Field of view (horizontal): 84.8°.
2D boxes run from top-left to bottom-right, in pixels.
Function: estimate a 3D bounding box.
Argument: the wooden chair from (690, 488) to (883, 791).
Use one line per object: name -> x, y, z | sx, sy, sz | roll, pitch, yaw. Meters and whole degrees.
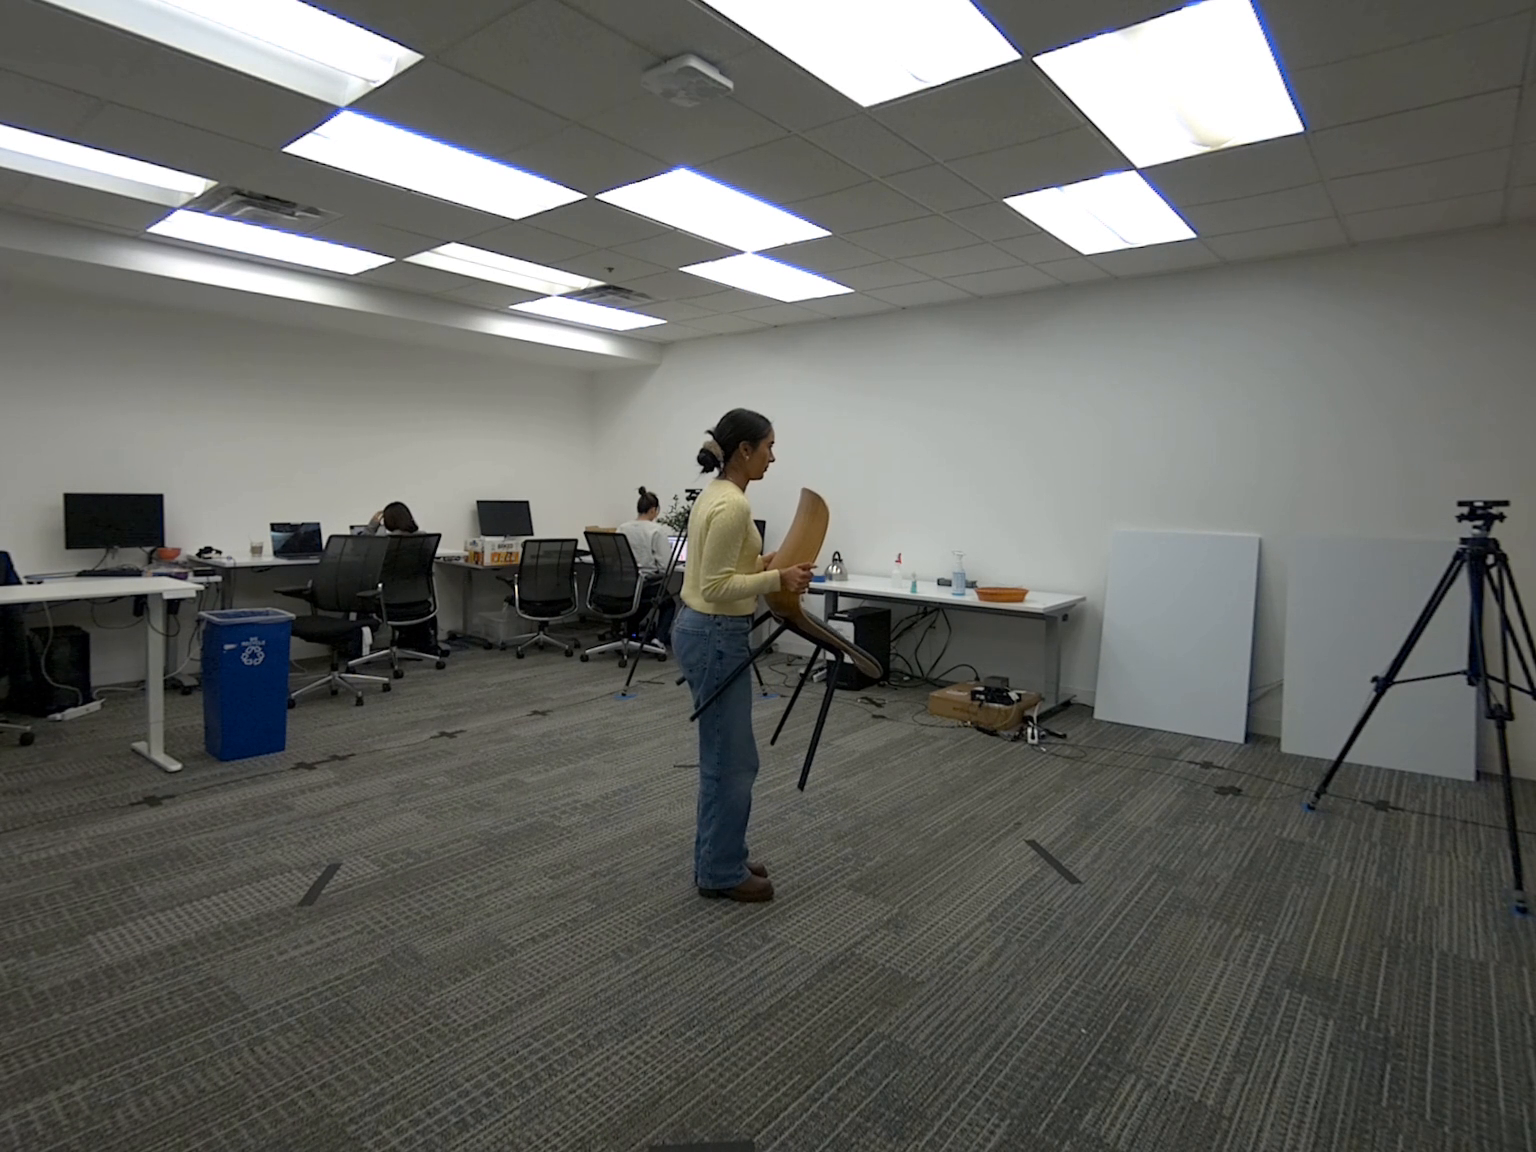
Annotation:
wooden chair -> 0.127, 0.204, 2.951 | 0.515, 0.877, 0.486 | 29, 1, -12
